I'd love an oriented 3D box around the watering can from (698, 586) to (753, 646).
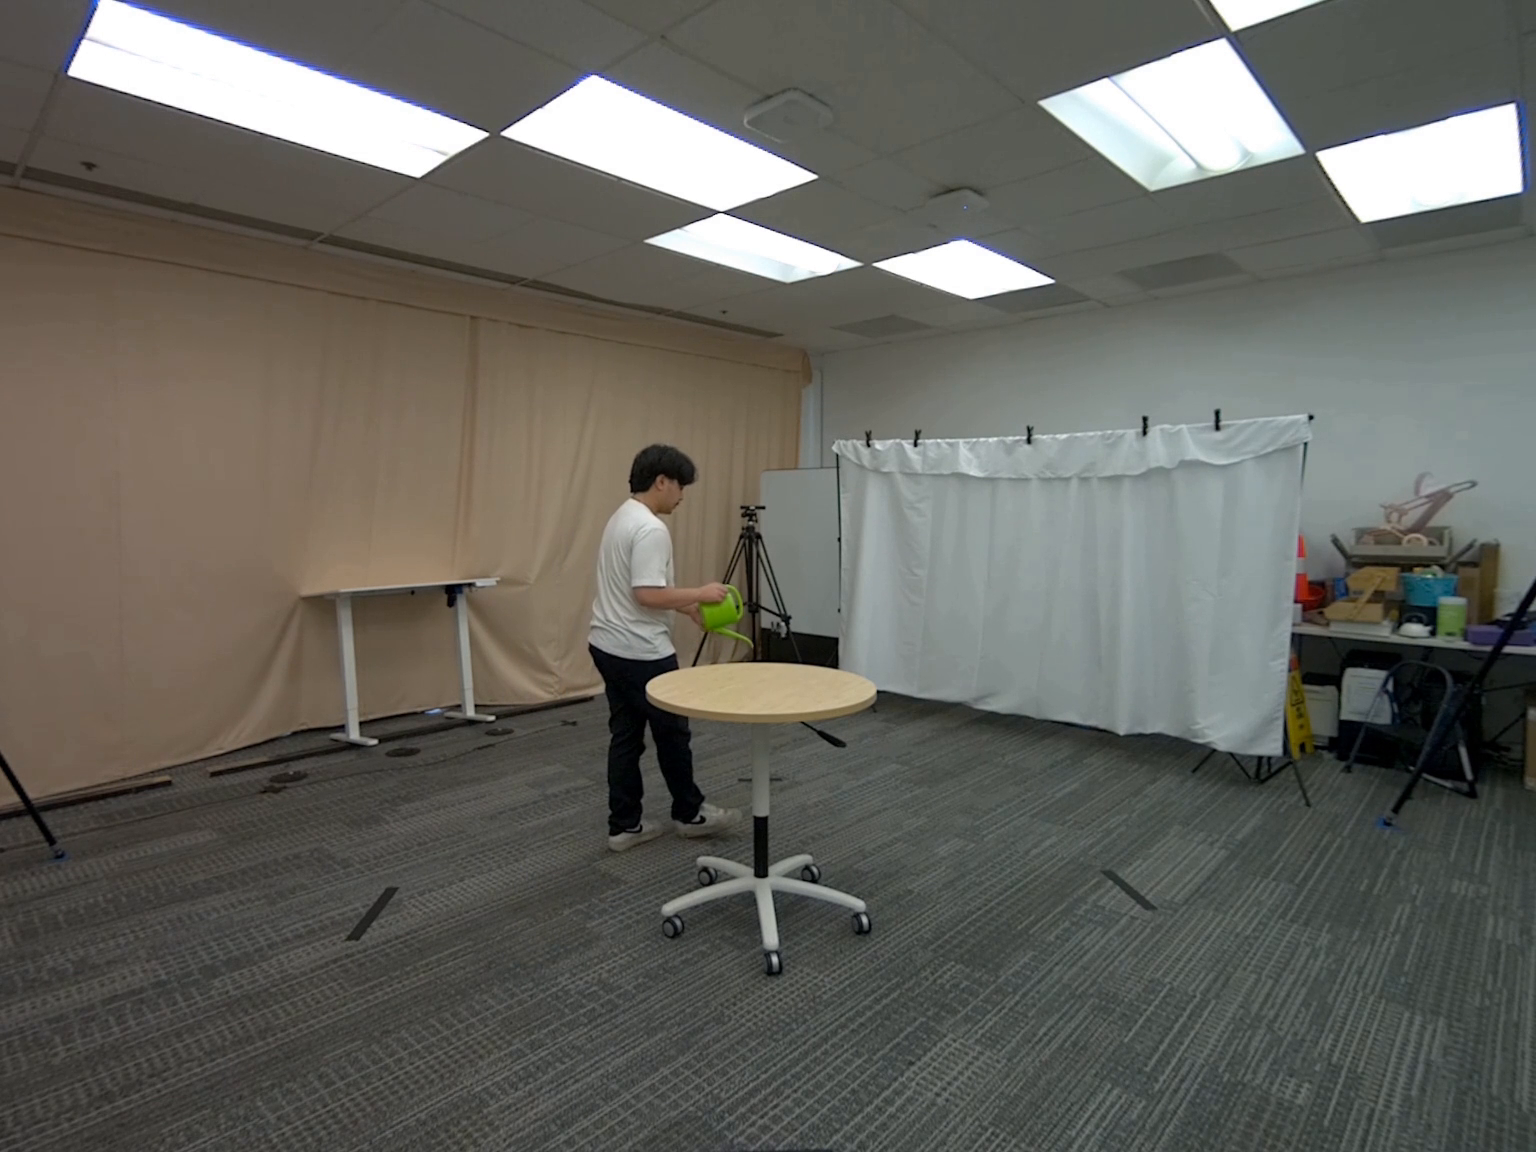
[{"bbox_3d":[-0.168,0.181,3.428,0.176,0.280,0.097,-17,-8,-4],"label":"watering can"}]
